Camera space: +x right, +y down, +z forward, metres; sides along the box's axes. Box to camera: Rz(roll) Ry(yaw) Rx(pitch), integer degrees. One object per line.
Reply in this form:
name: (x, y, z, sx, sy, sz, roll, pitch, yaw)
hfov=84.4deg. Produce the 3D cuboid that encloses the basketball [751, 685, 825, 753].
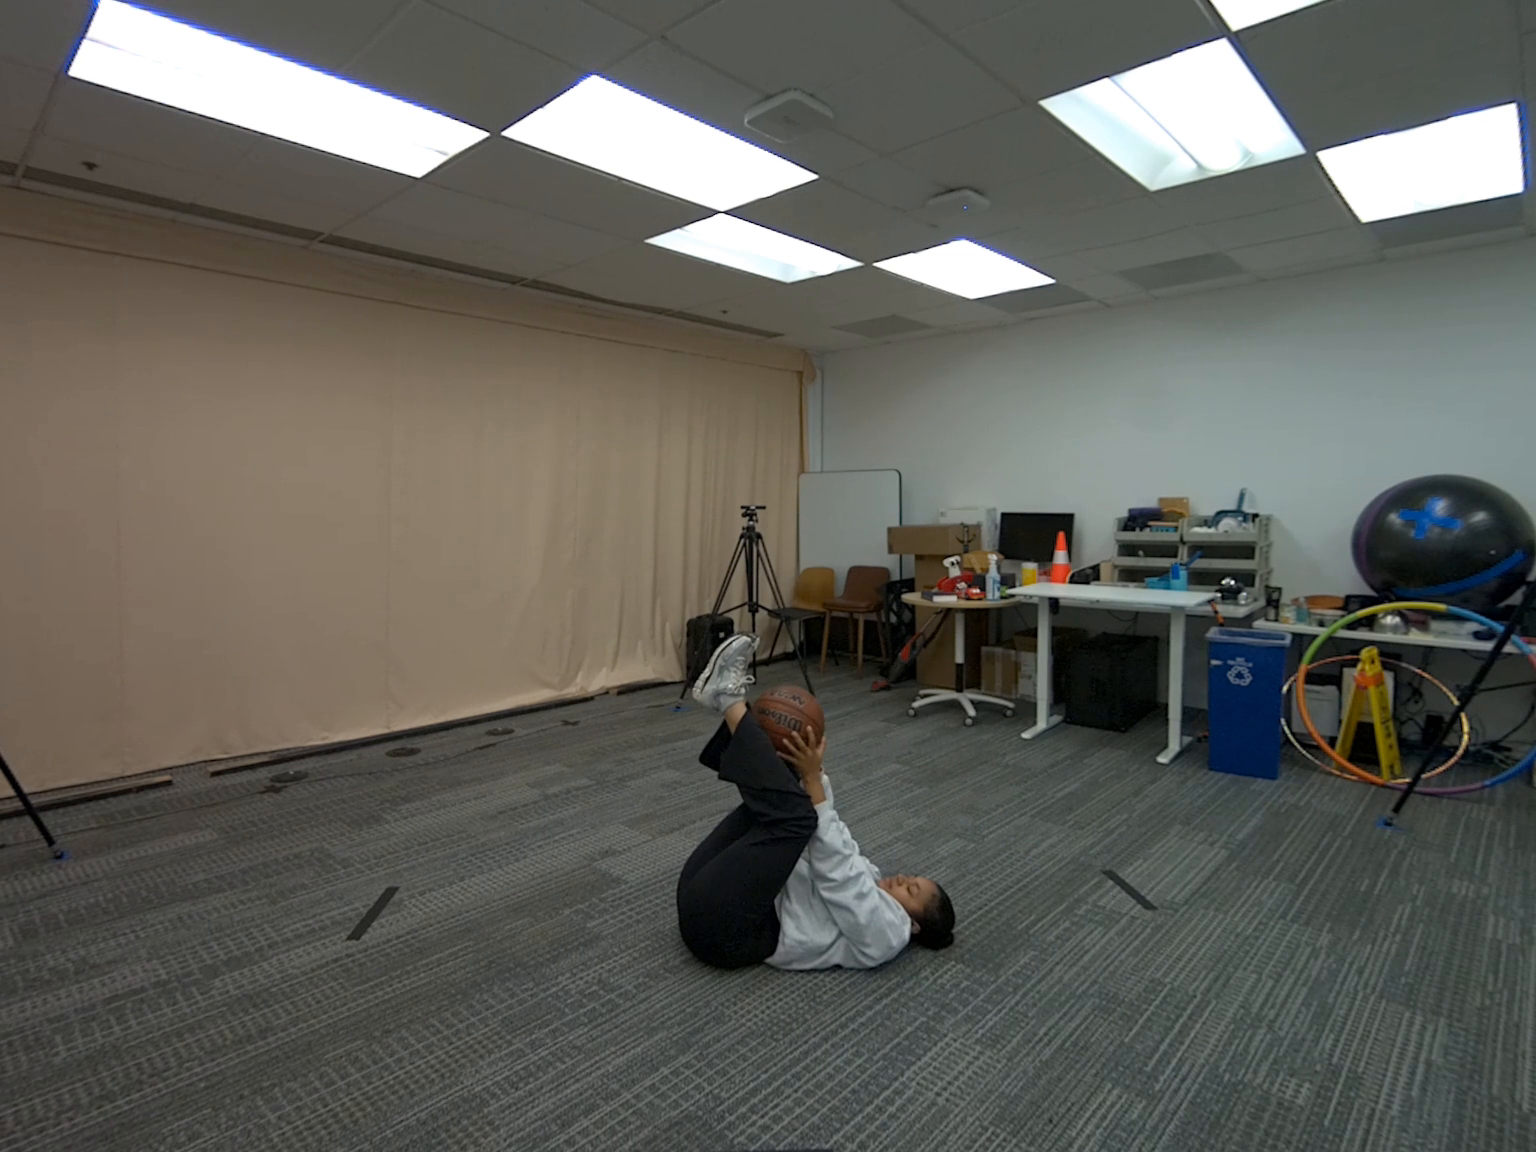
basketball: (0.066, 0.467, 2.658, 0.236, 0.235, 0.237, 0, 4, -2)
